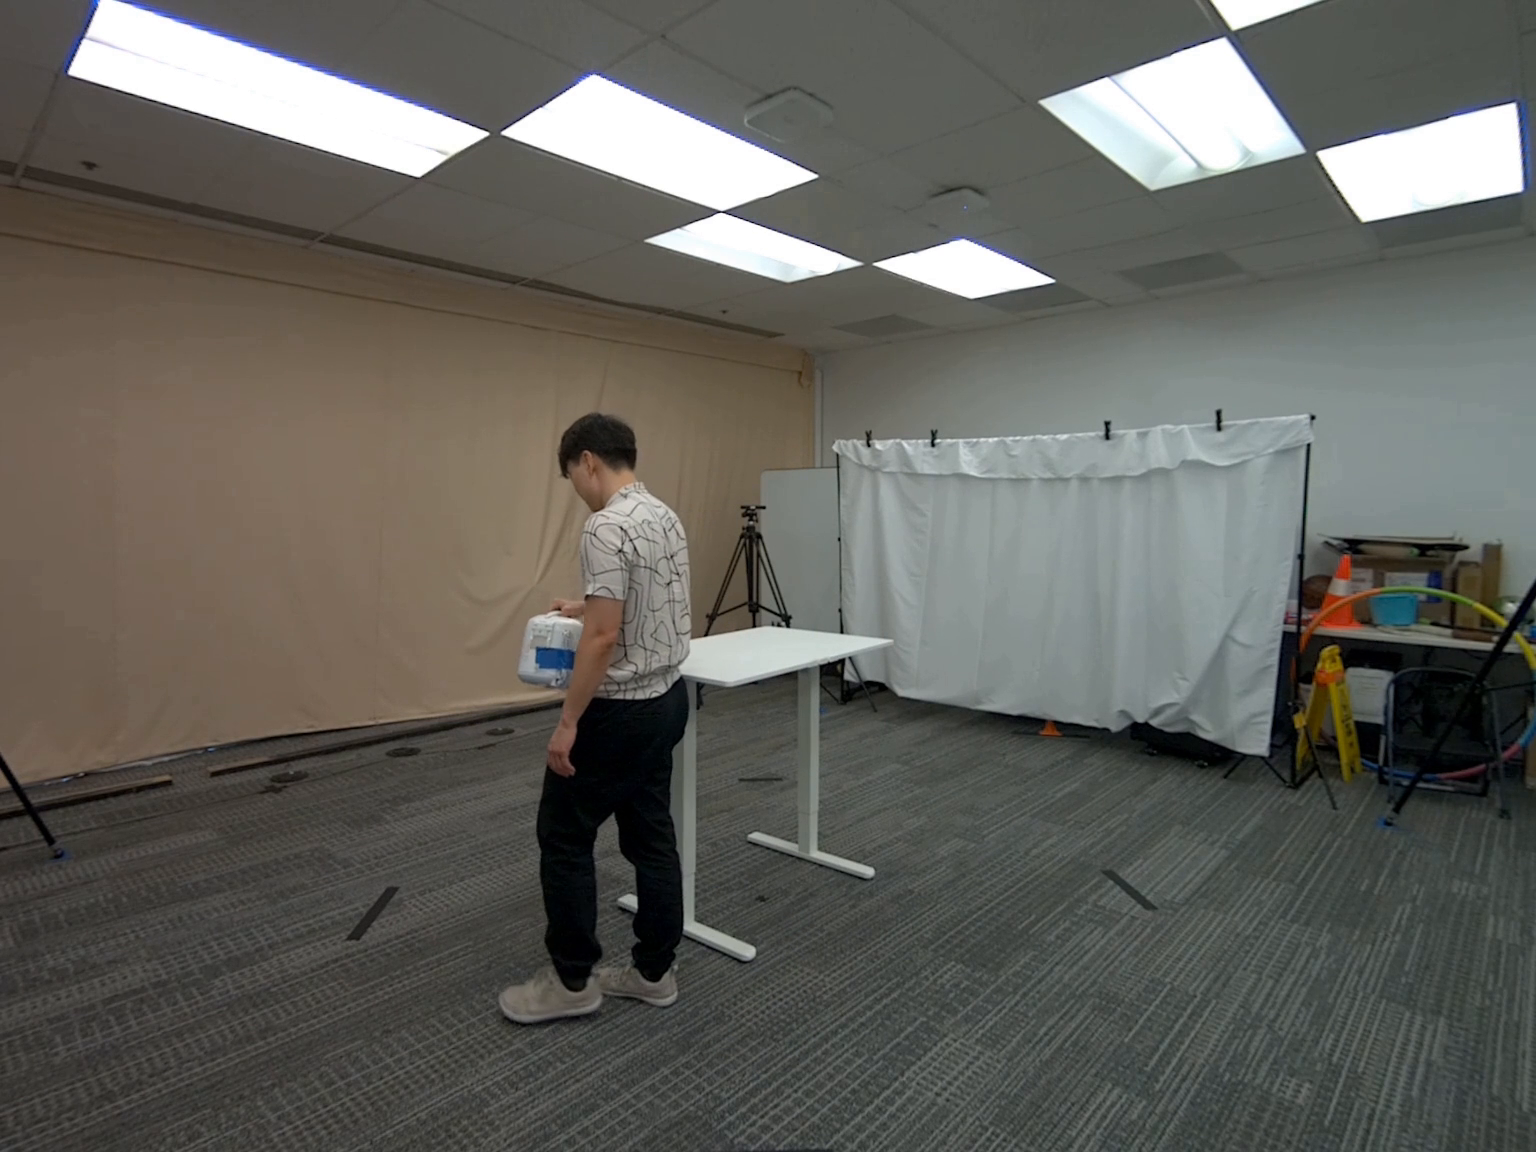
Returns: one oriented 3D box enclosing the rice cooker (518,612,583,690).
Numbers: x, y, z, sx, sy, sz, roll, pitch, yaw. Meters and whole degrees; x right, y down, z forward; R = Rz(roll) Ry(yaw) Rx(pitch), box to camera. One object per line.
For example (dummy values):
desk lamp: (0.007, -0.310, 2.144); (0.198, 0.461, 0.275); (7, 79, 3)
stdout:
rice cooker: (-0.645, 0.223, 2.572); (0.222, 0.234, 0.214); (5, -12, 20)
